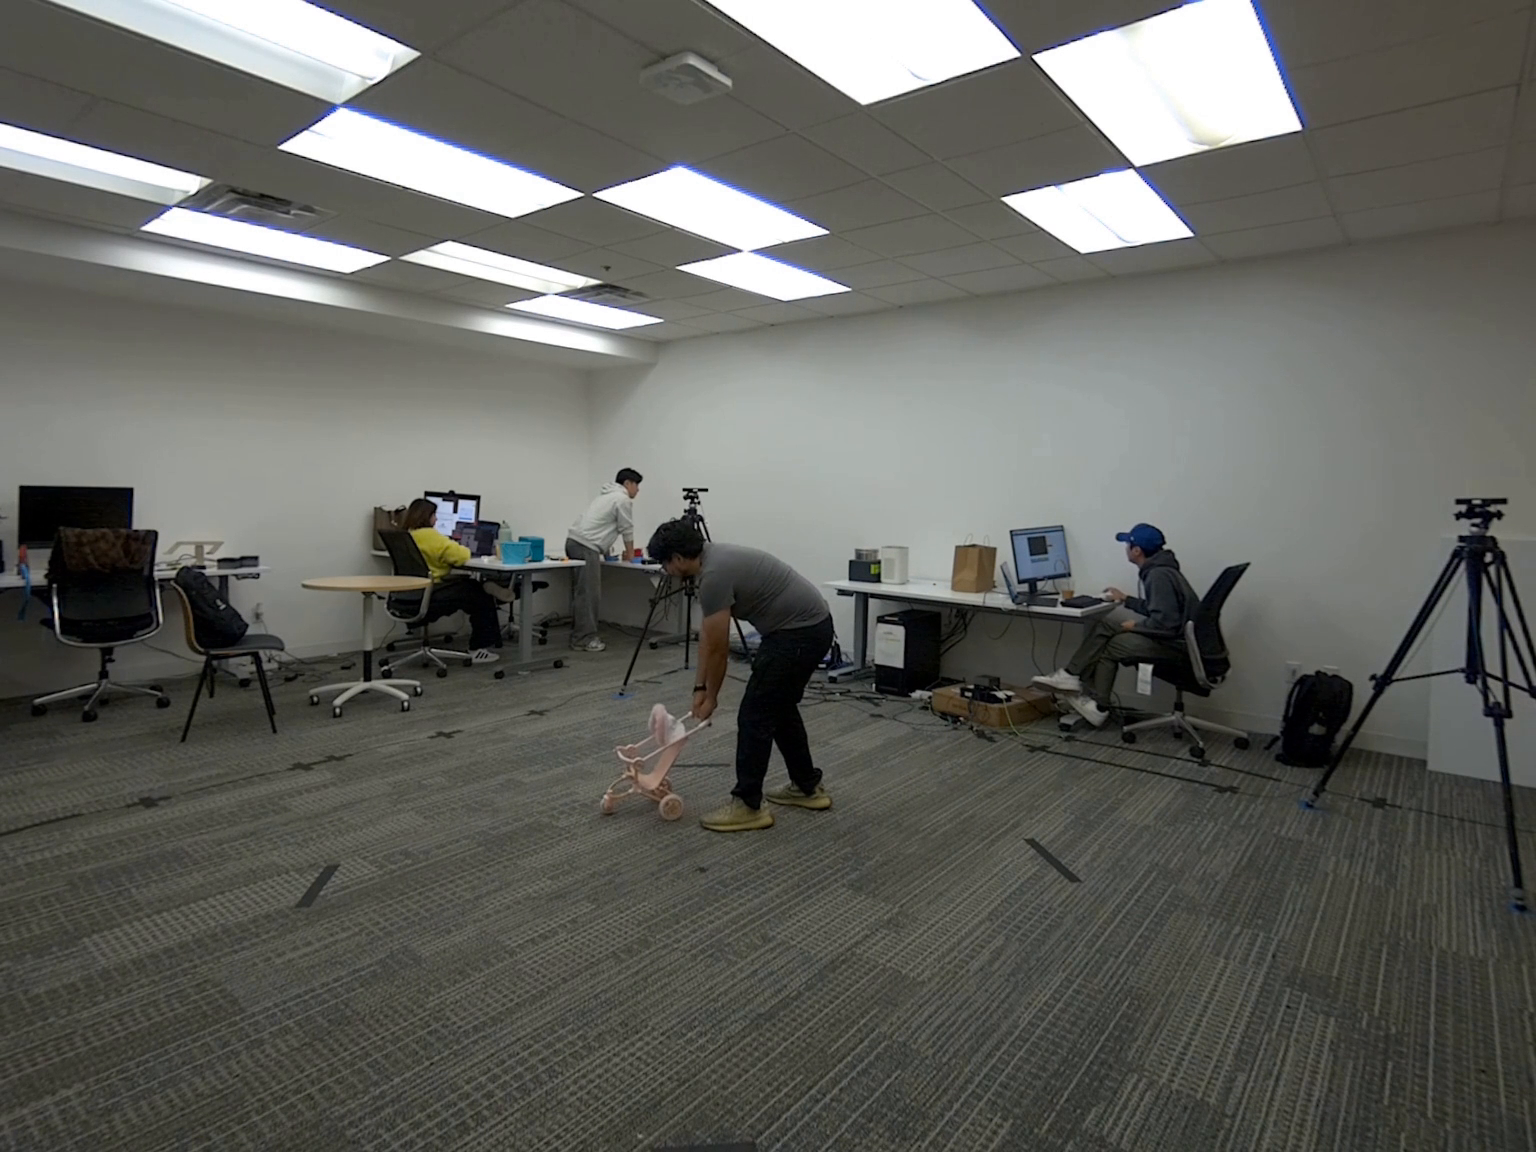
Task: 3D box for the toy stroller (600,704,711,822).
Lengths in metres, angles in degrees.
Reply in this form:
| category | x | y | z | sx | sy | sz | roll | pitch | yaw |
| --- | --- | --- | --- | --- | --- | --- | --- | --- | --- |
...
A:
| category | x | y | z | sx | sy | sz | roll | pitch | yaw |
| --- | --- | --- | --- | --- | --- | --- | --- | --- | --- |
| toy stroller | -0.507 | 0.786 | 3.659 | 0.336 | 0.535 | 0.285 | 18 | -1 | -12 |
